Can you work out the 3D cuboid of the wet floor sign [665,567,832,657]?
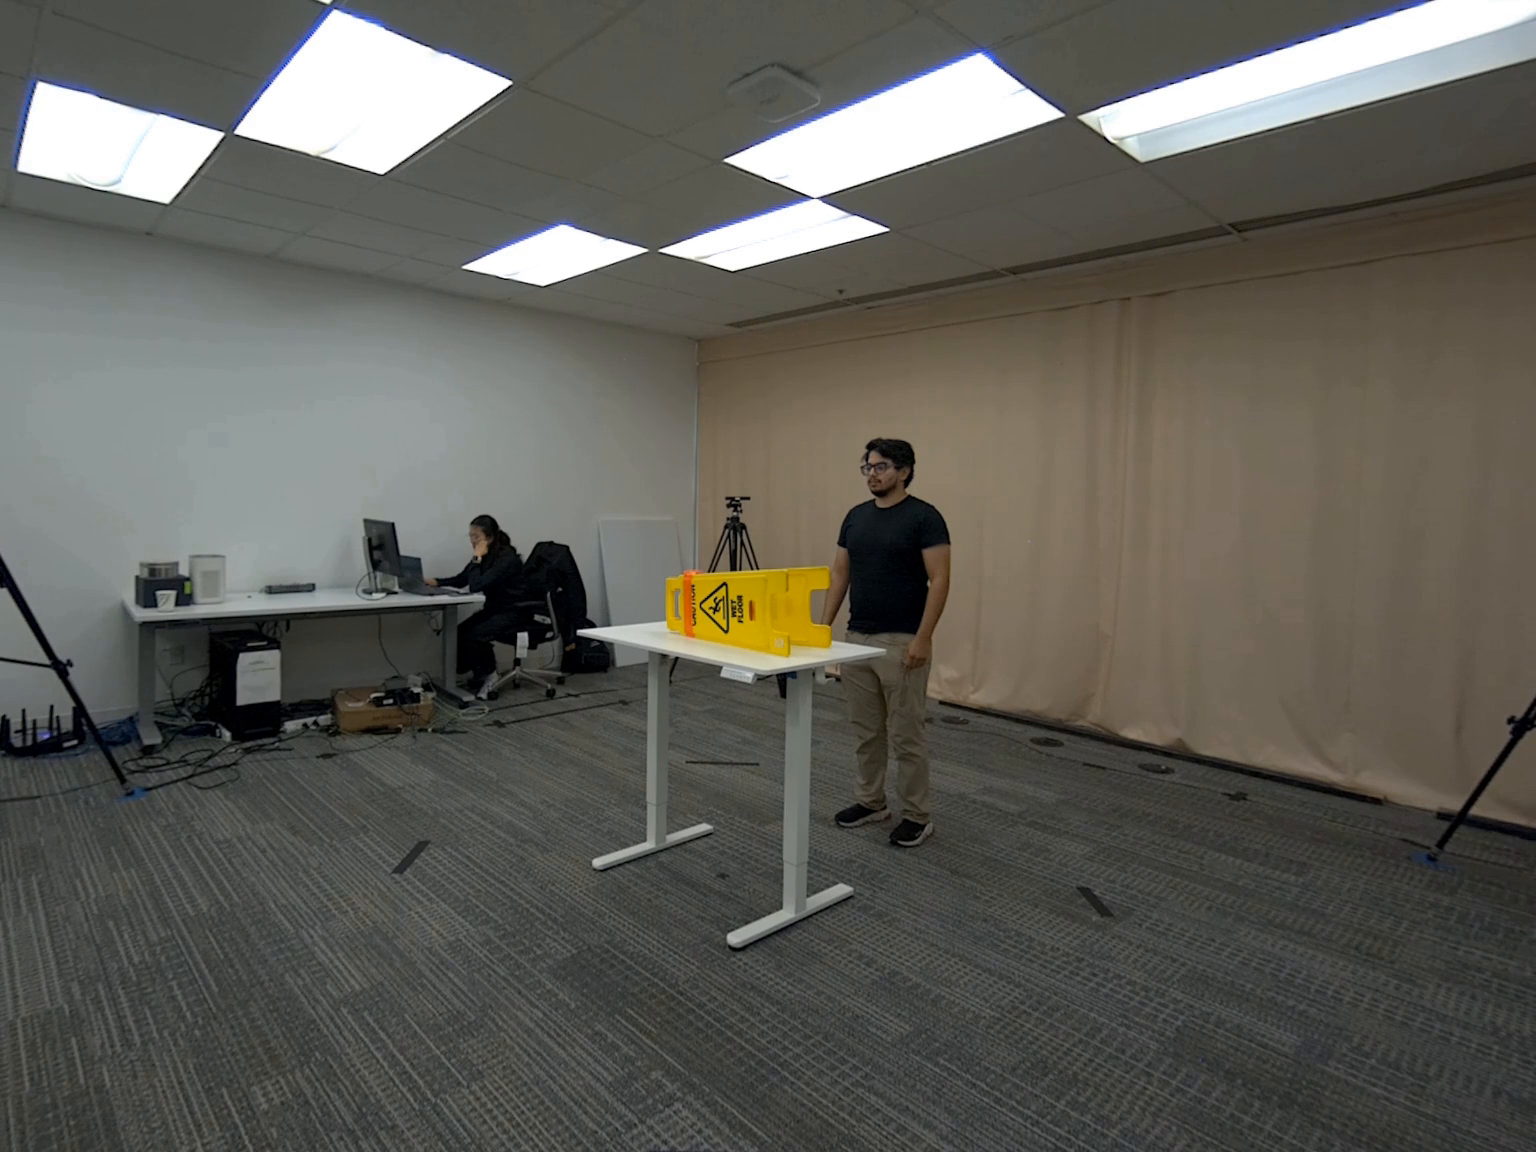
[{"bbox_3d":[-0.128,0.112,2.979,0.661,0.282,0.283,1,2,37],"label":"wet floor sign"}]
